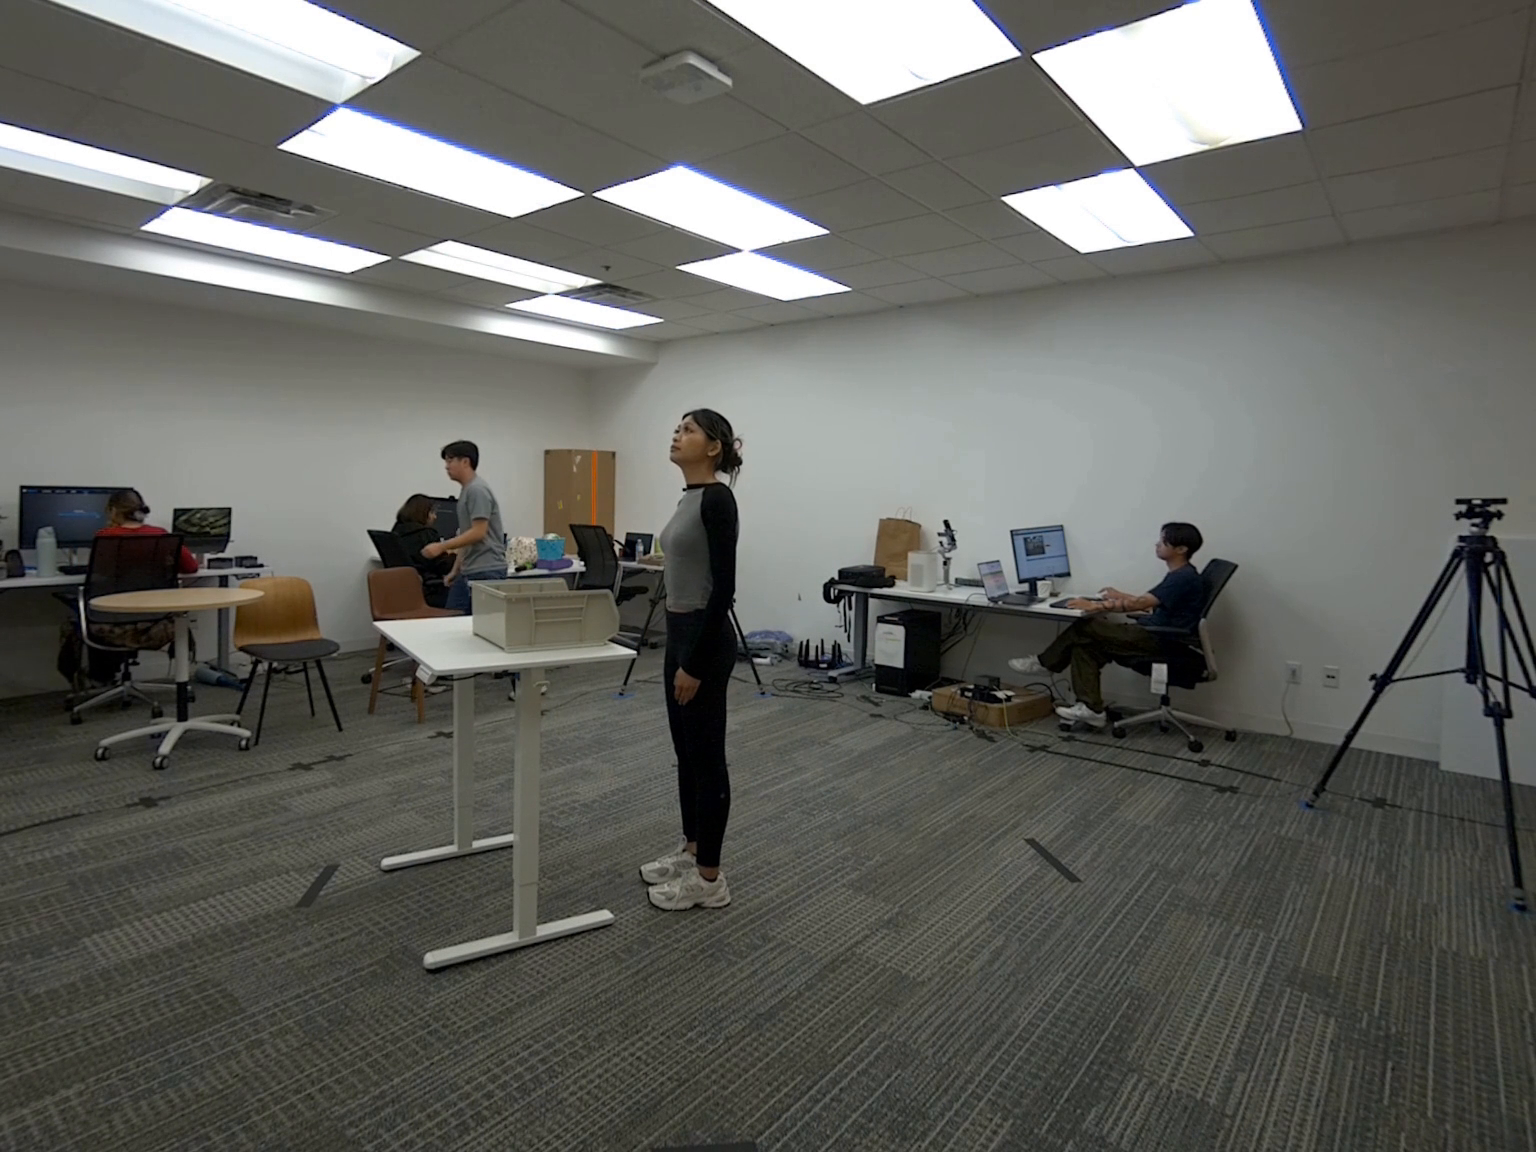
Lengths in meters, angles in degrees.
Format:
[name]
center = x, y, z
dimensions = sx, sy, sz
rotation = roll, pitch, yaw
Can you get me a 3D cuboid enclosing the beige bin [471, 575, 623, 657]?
[beige bin]
center = -0.748, 0.118, 2.805
dimensions = 0.367, 0.188, 0.435
rotation = -3, 6, -32
